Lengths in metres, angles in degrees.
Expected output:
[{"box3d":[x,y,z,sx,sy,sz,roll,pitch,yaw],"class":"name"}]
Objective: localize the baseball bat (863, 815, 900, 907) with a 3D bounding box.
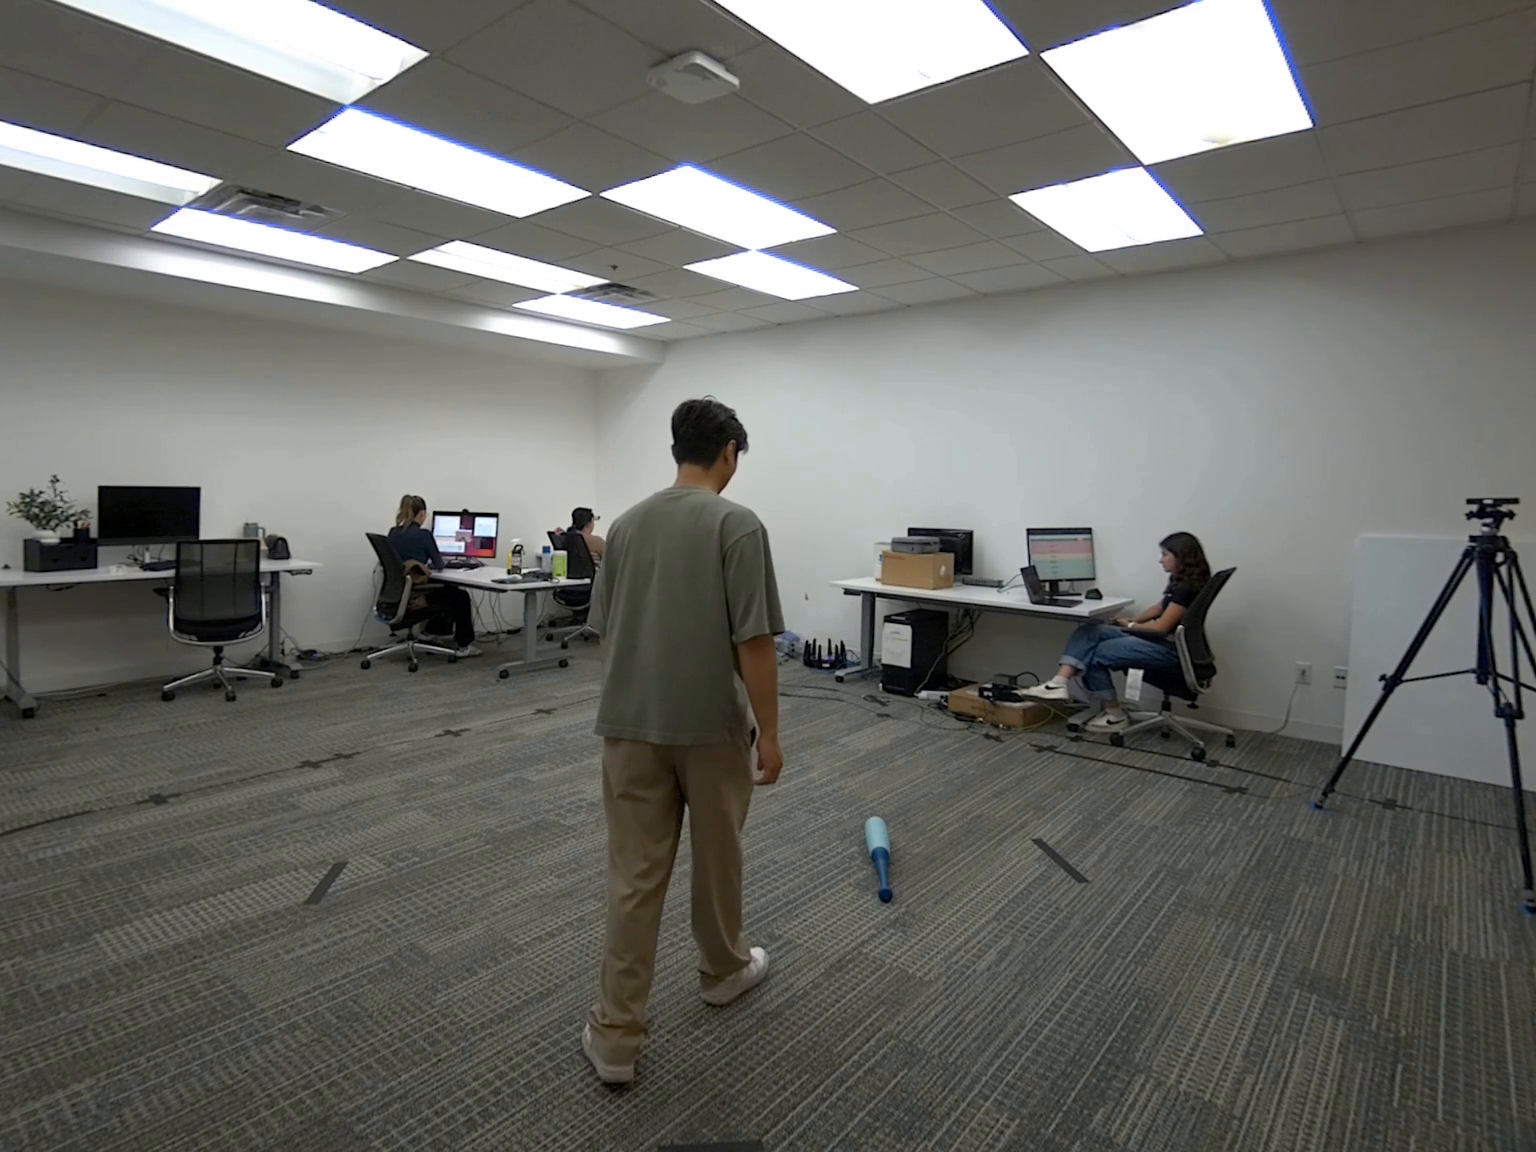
[{"box3d":[0.411,1.038,3.148,0.089,0.088,0.544,1,8,2],"class":"baseball bat"}]
